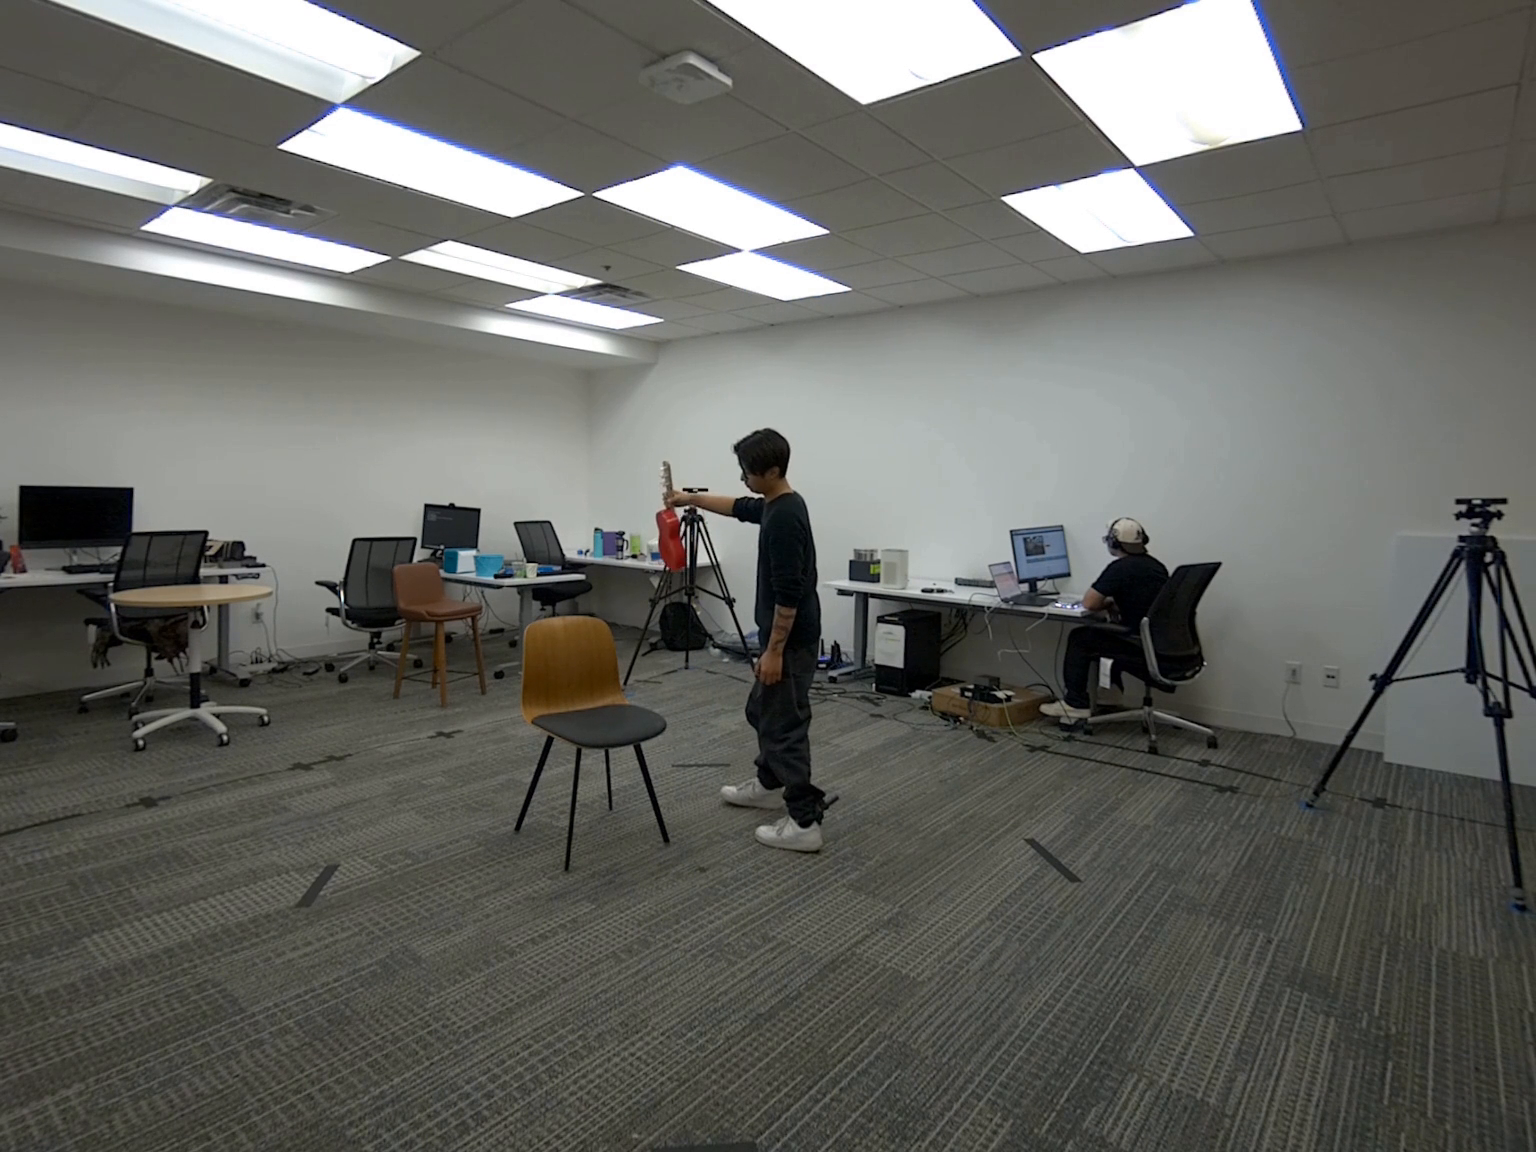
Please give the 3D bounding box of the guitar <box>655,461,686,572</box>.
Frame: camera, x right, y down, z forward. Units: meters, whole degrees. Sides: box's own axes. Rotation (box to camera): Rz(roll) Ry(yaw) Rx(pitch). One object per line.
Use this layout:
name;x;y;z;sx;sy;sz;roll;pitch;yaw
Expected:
guitar;-0.467;-0.273;3.807;0.069;0.490;0.199;-16;16;-23
